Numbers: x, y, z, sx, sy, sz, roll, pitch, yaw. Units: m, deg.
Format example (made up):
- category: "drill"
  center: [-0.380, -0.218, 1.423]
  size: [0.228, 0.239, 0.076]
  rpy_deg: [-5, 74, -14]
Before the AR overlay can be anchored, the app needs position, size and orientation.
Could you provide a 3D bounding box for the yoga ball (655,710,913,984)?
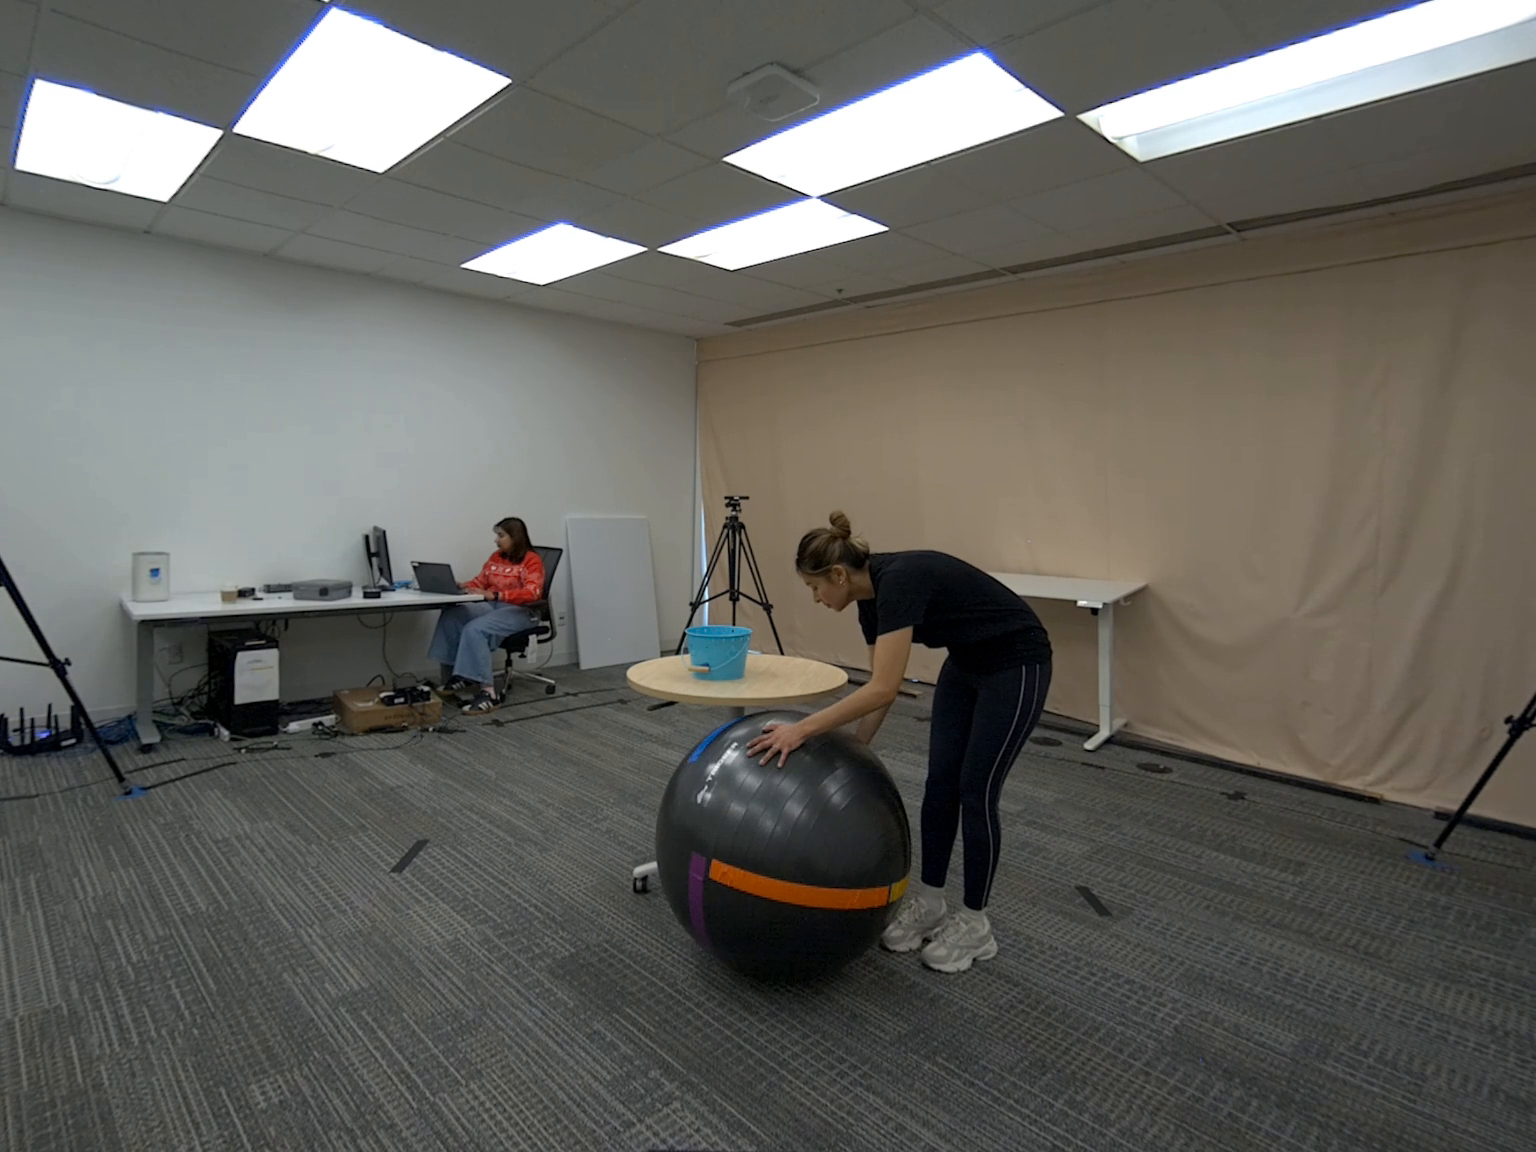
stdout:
- category: "yoga ball"
  center: [0.051, 0.802, 2.510]
  size: [0.757, 0.756, 0.761]
  rpy_deg: [1, 4, -1]
